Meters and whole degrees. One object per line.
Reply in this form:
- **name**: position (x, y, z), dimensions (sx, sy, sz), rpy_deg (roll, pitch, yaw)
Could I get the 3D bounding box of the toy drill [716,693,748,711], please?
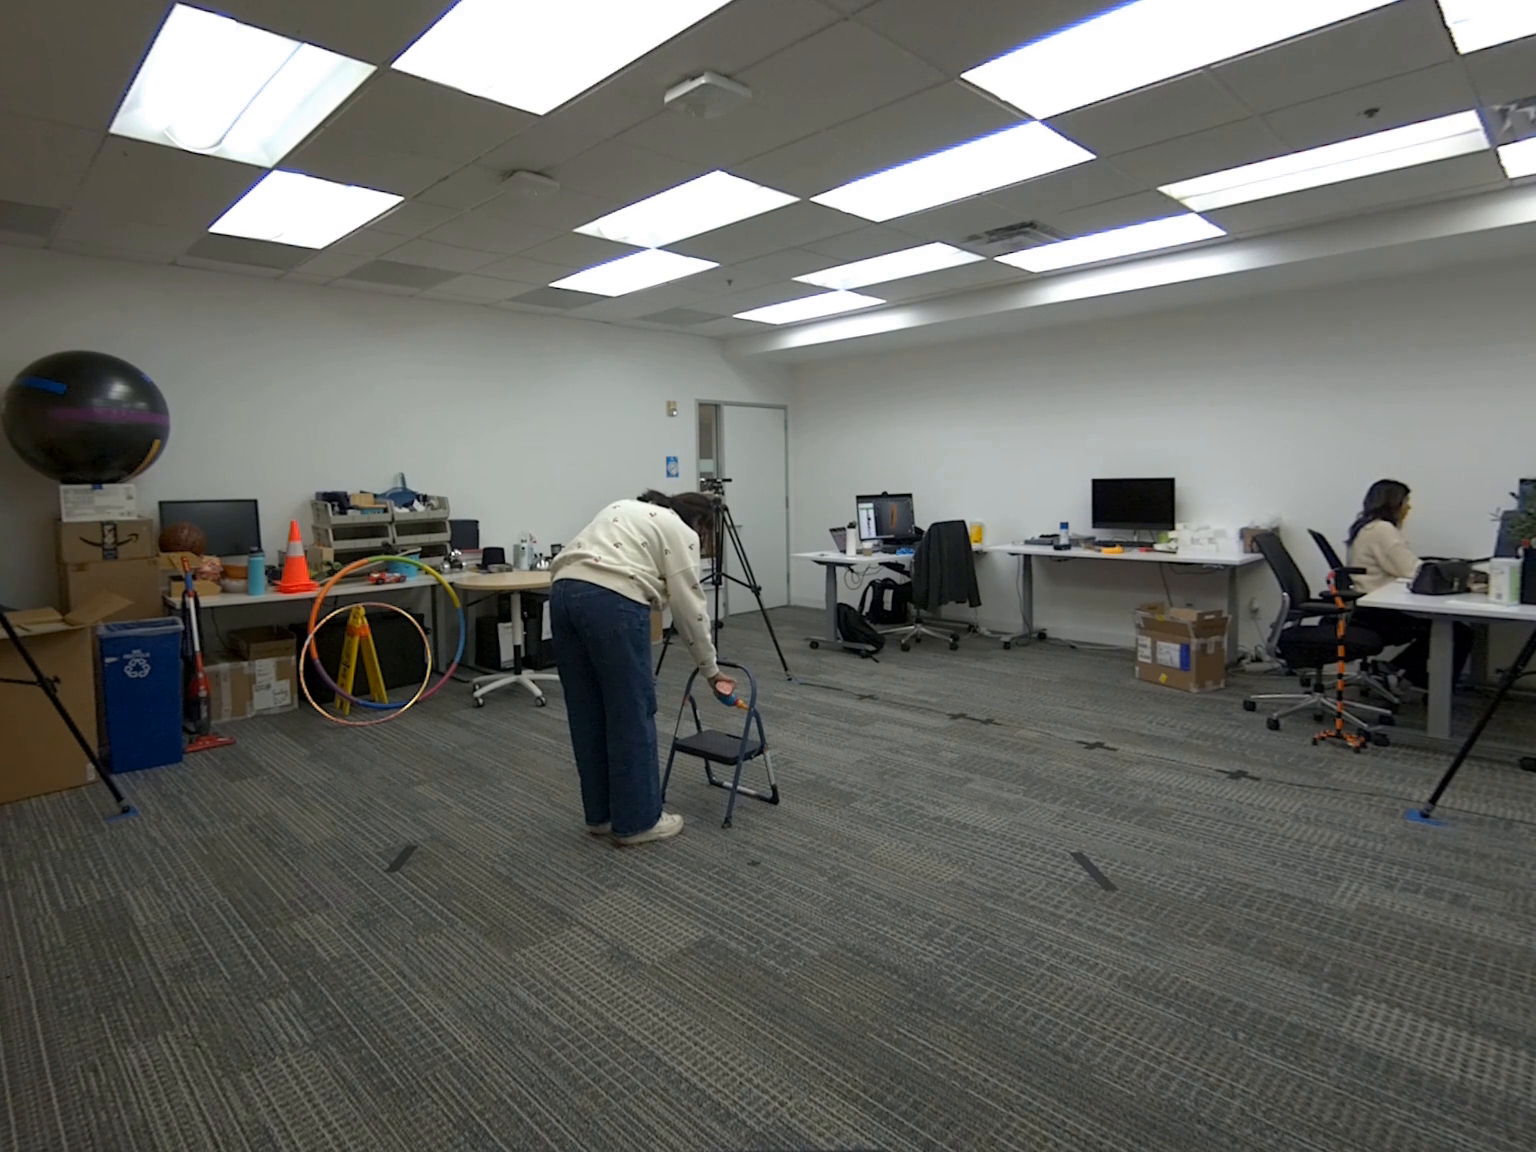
- **toy drill**: position (-0.147, 0.495, 3.535), dimensions (0.172, 0.061, 0.143), rpy_deg (27, -25, 11)
